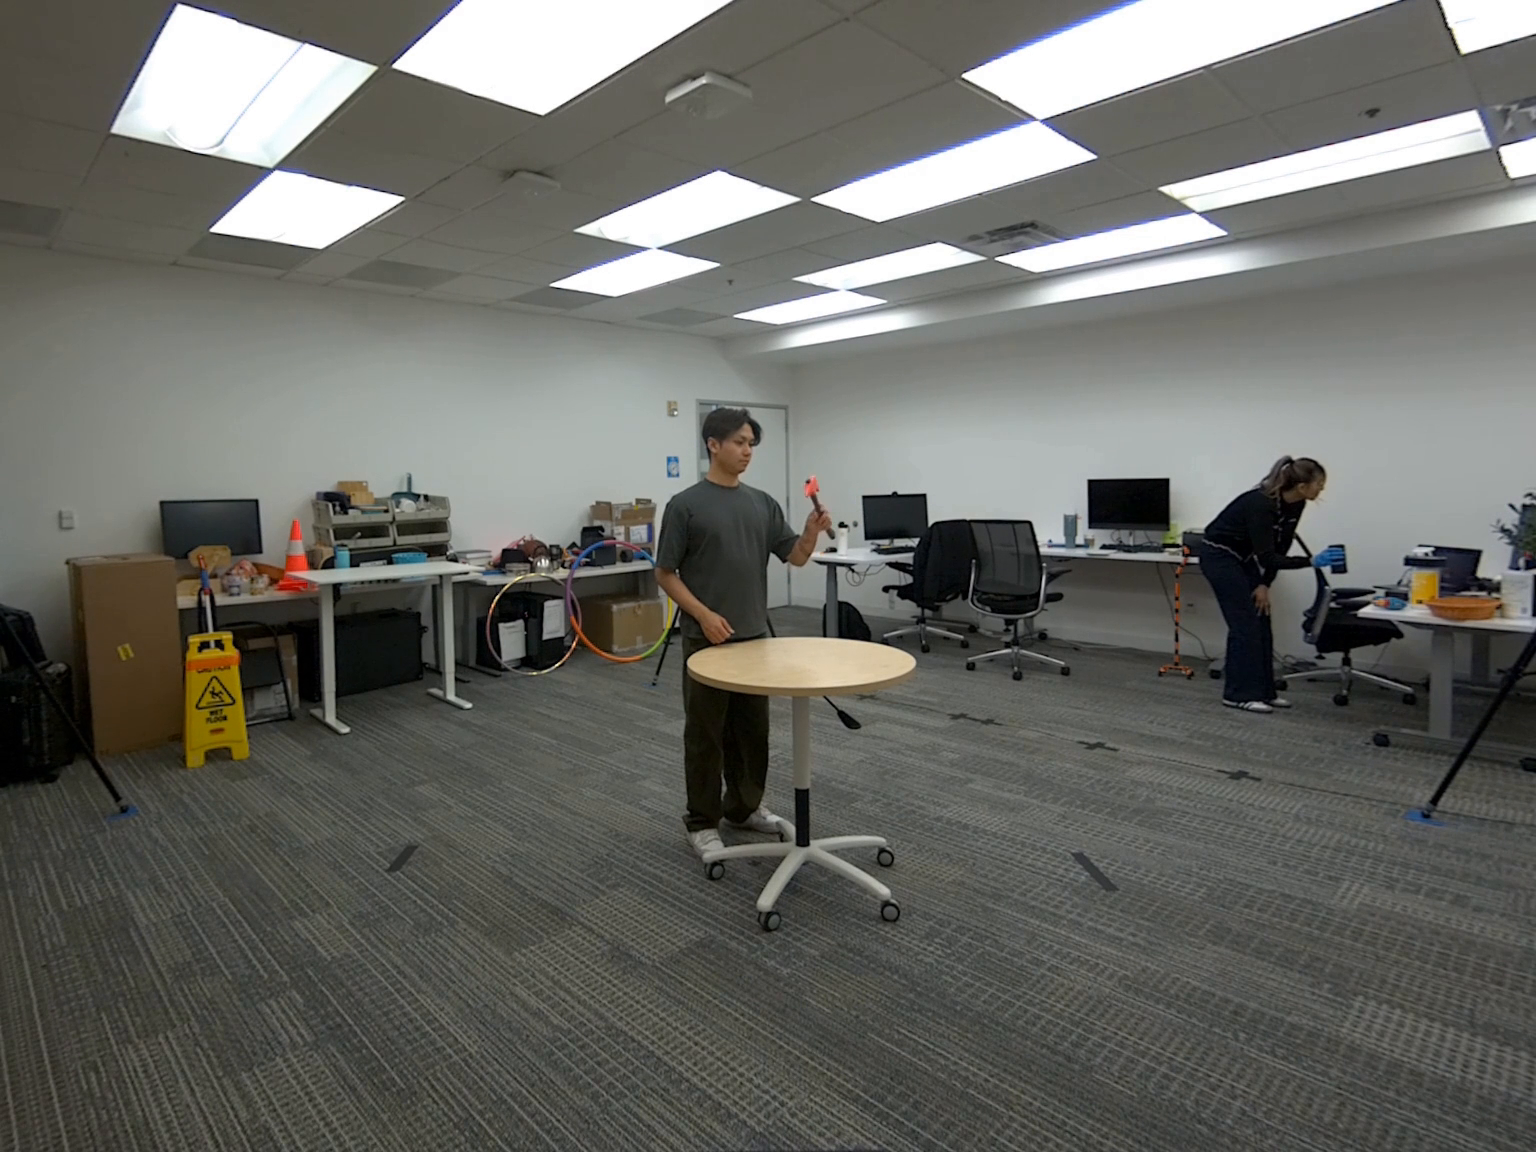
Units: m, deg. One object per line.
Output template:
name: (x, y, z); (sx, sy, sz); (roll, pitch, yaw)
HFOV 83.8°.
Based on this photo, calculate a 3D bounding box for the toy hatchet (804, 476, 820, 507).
toy hatchet: (0.194, -0.256, 3.075); (0.030, 0.134, 0.260); (-13, -40, 19)
